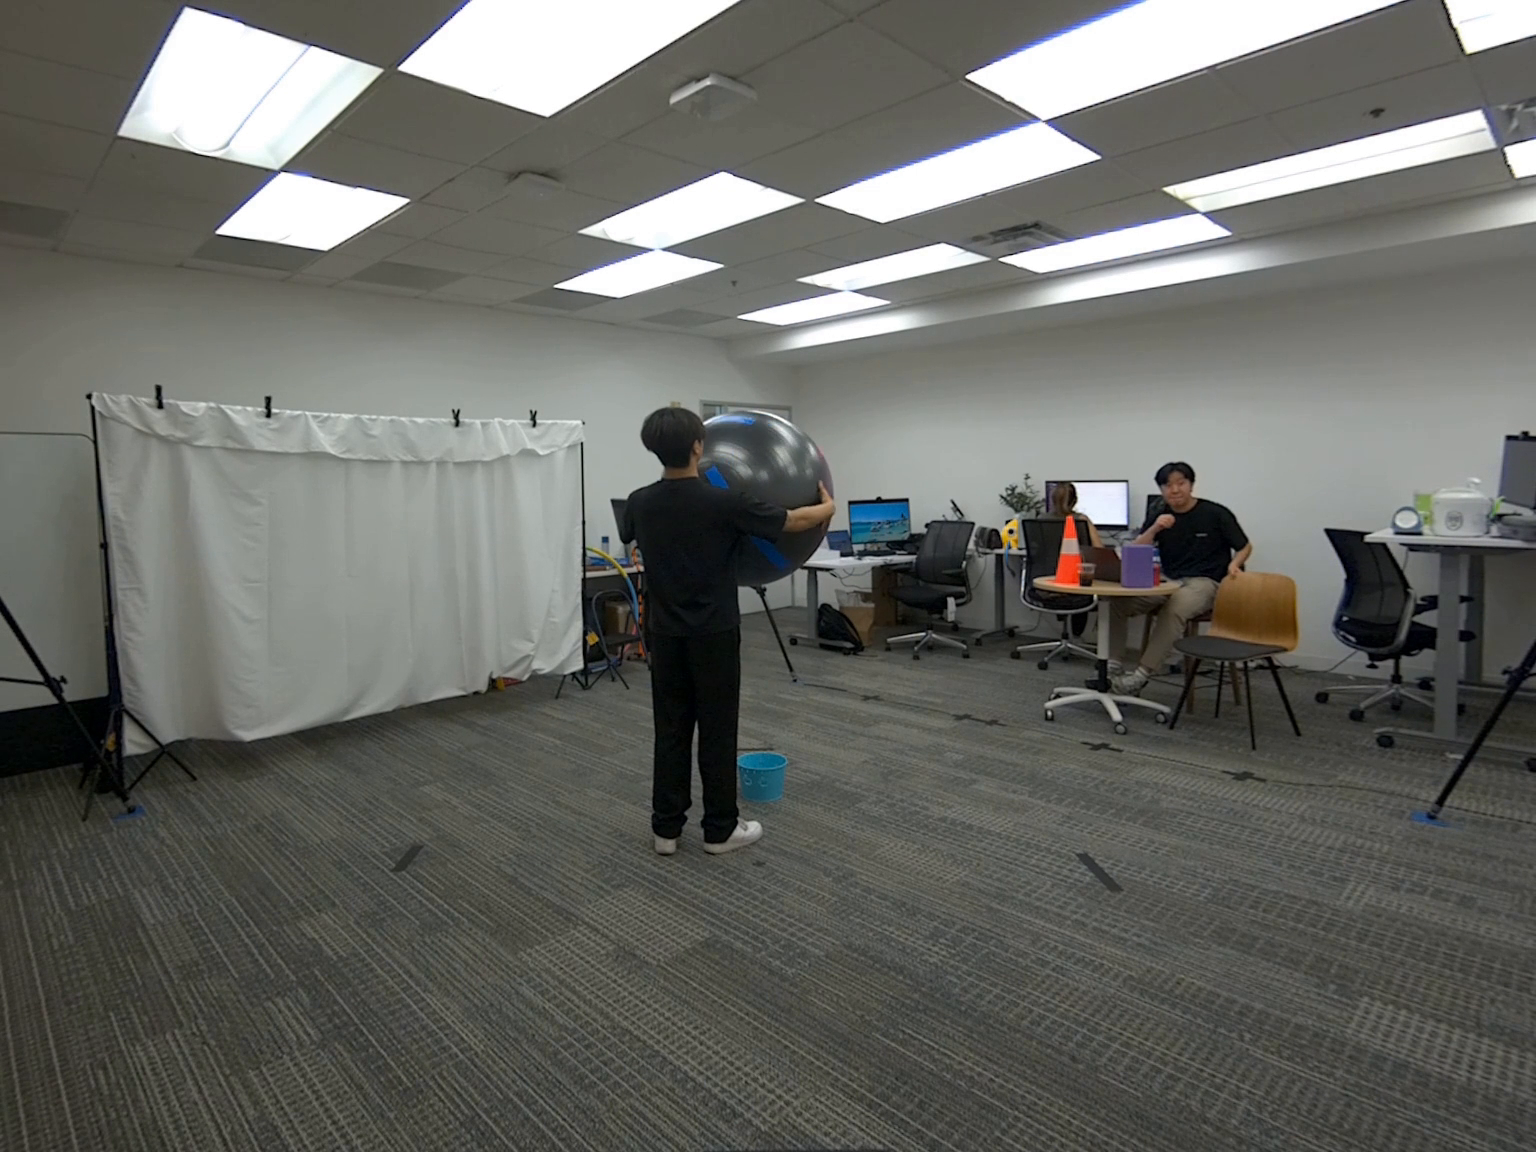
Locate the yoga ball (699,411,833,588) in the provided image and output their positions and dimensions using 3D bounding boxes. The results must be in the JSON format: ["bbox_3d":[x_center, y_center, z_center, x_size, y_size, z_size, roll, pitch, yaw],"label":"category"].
[{"bbox_3d":[-0.098,-0.331,3.711,0.757,0.755,0.762,-1,5,-2],"label":"yoga ball"}]
